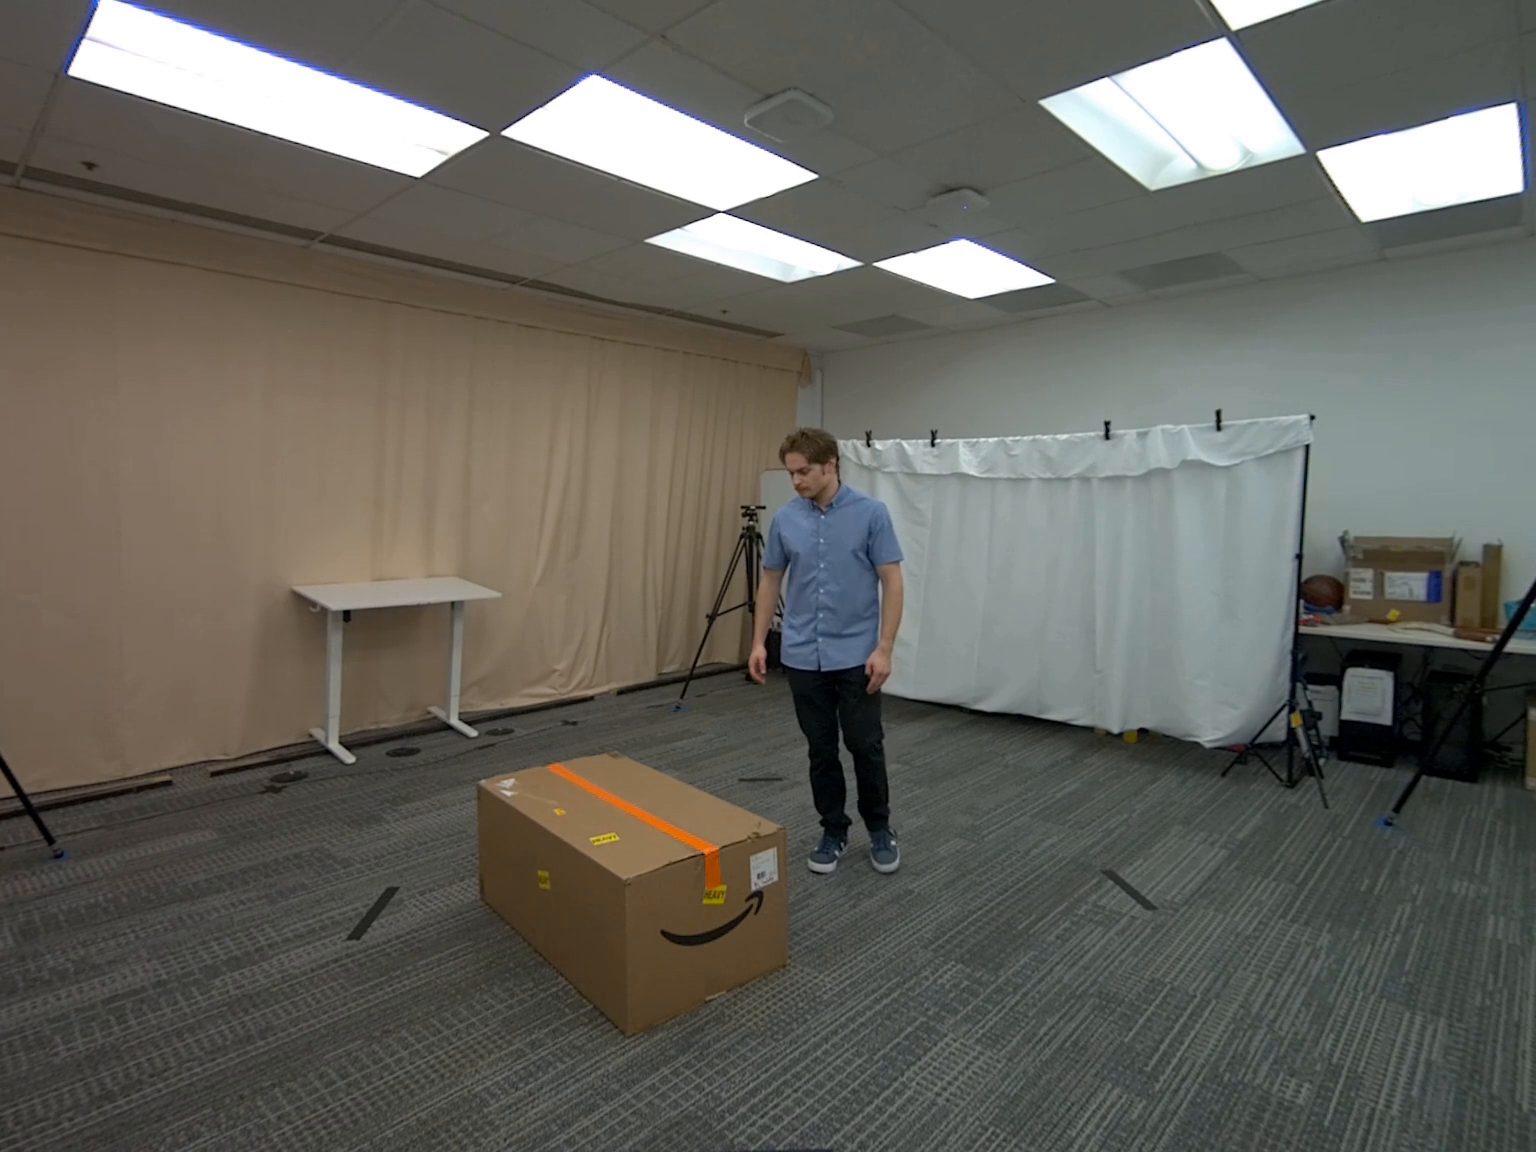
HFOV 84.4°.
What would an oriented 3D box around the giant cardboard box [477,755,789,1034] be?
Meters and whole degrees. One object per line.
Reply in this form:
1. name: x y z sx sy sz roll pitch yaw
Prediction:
1. giant cardboard box: -0.483 0.953 2.766 0.566 0.446 1.060 -2 4 -39
